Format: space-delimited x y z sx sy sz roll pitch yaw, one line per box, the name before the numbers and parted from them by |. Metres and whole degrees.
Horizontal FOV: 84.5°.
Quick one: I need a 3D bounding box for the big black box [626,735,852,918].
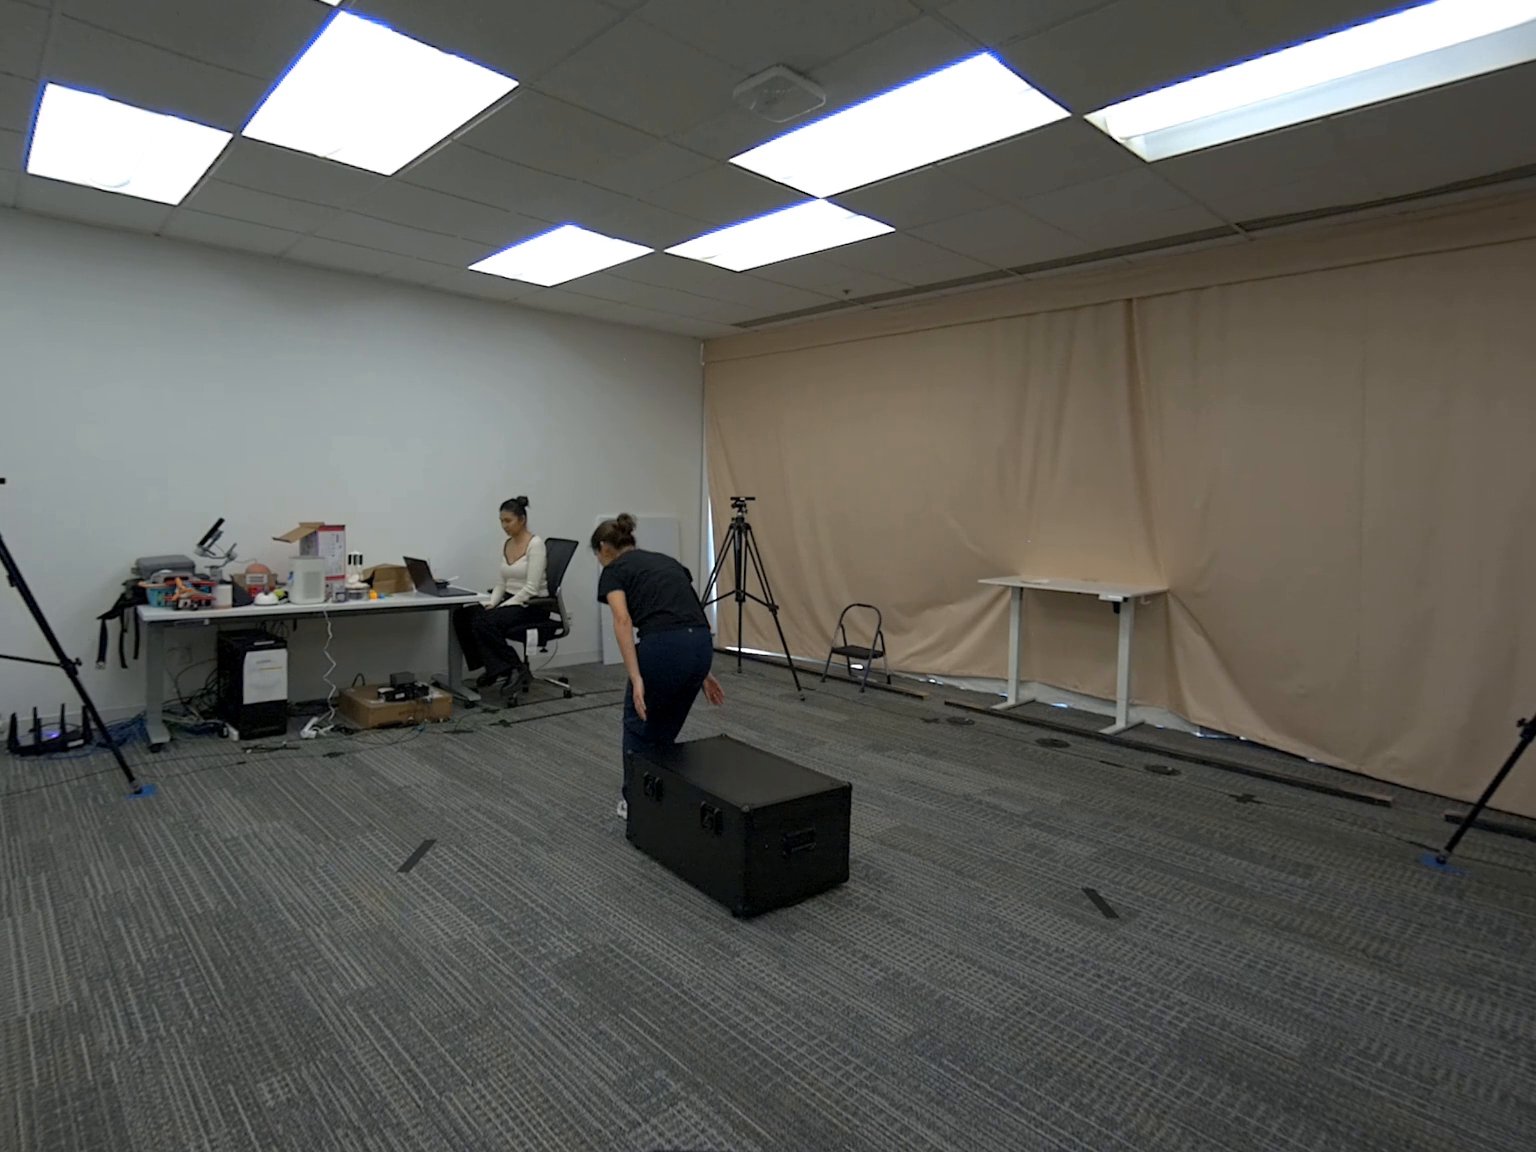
big black box | -0.124 0.915 3.151 0.510 0.395 0.883 -3 5 -38
